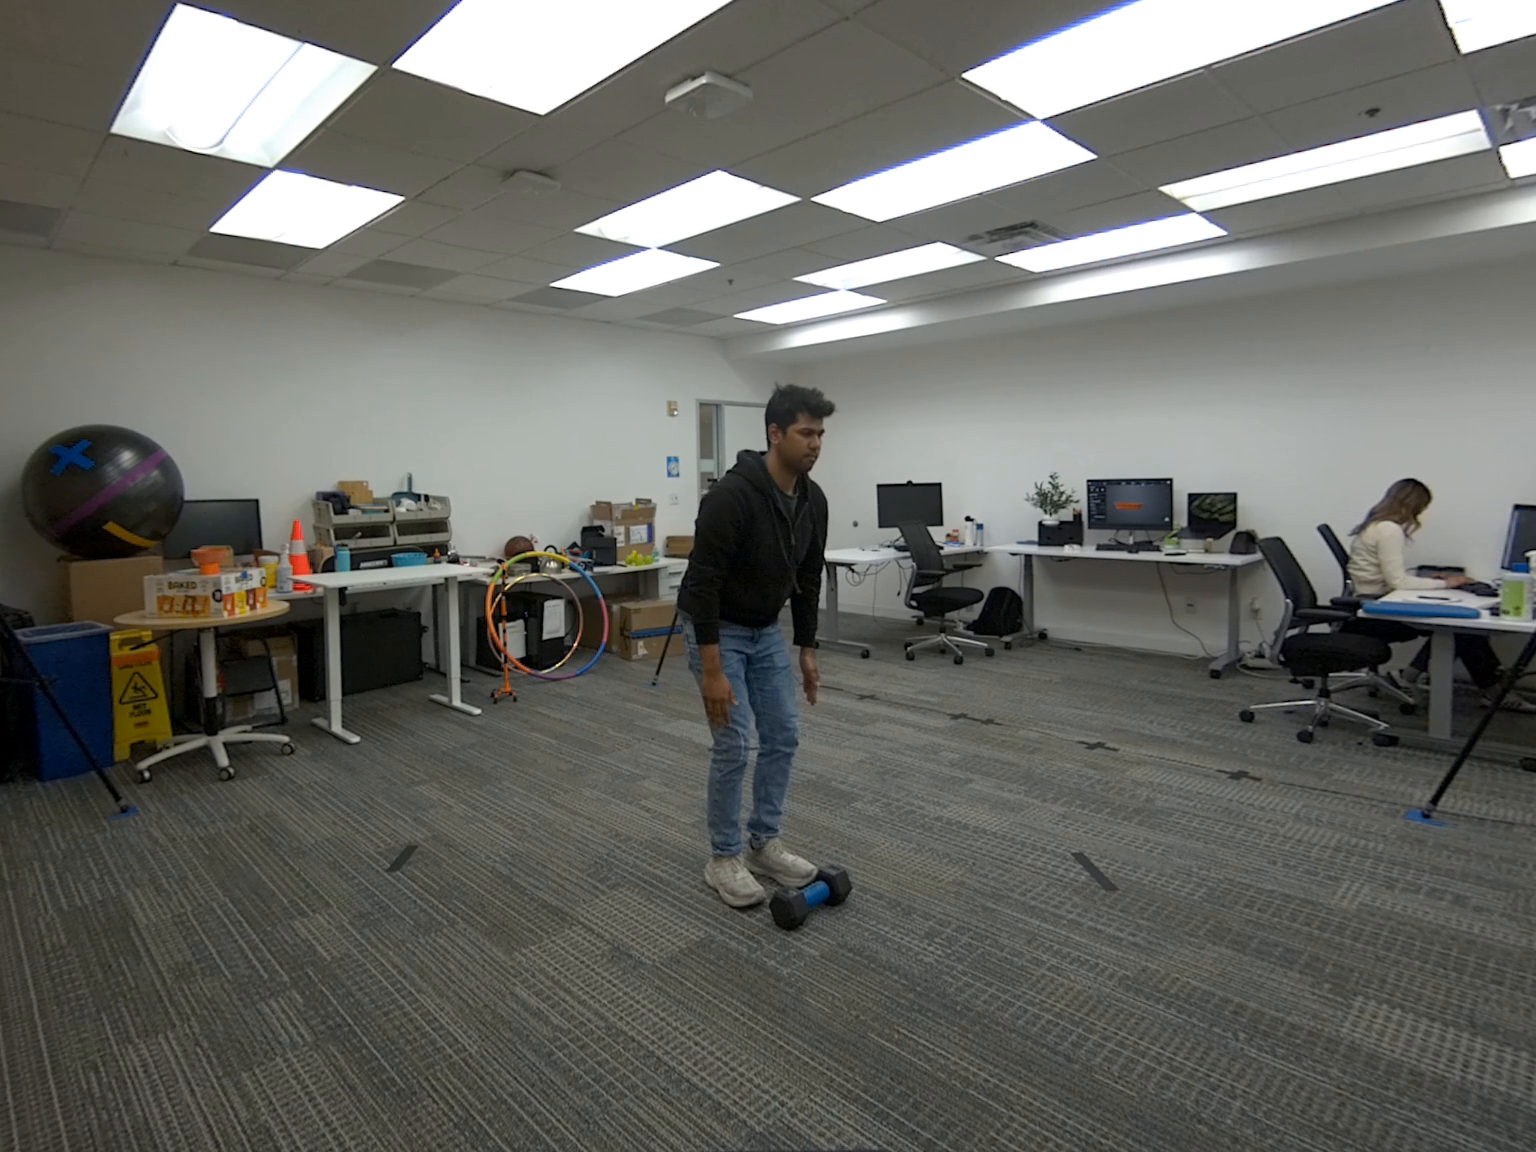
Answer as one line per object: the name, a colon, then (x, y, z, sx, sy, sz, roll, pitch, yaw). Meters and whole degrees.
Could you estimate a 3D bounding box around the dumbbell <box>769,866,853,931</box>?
dumbbell: (0.142, 1.028, 2.747, 0.286, 0.108, 0.127, -7, 8, -44)
